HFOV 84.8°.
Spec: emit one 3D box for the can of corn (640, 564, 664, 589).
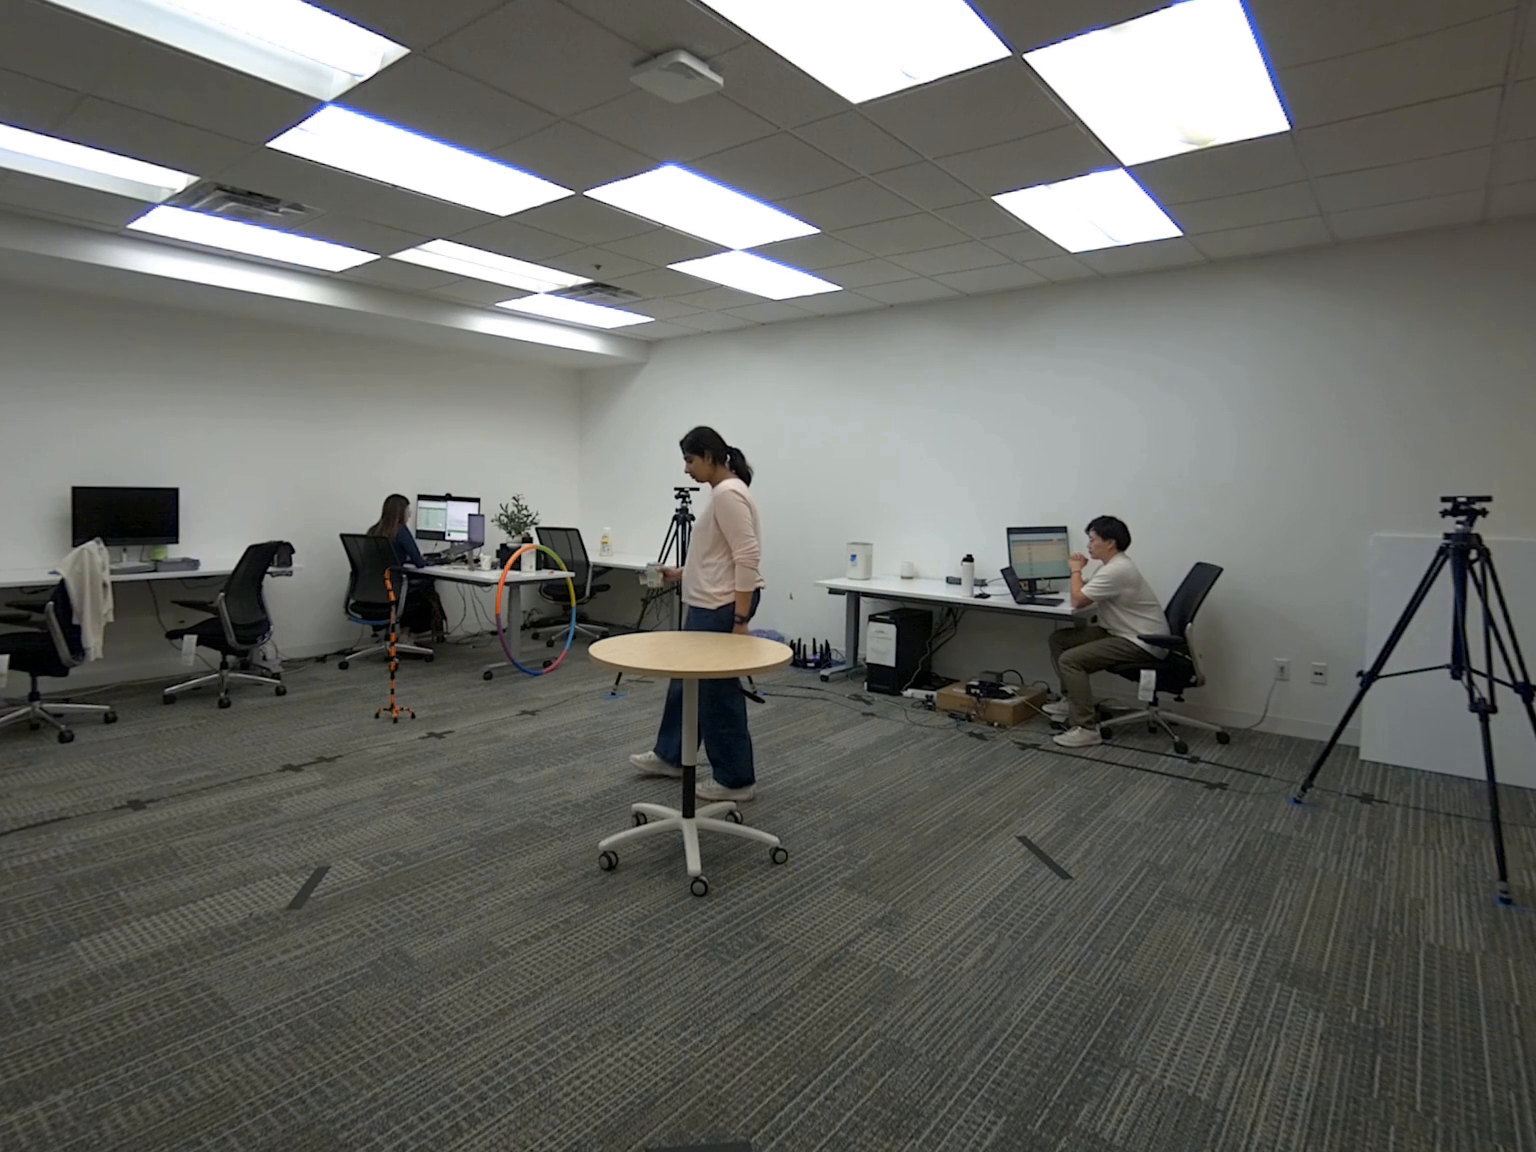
[{"bbox_3d":[-0.525,-0.010,3.973,0.074,0.110,0.075,0,5,-2],"label":"can of corn"}]
